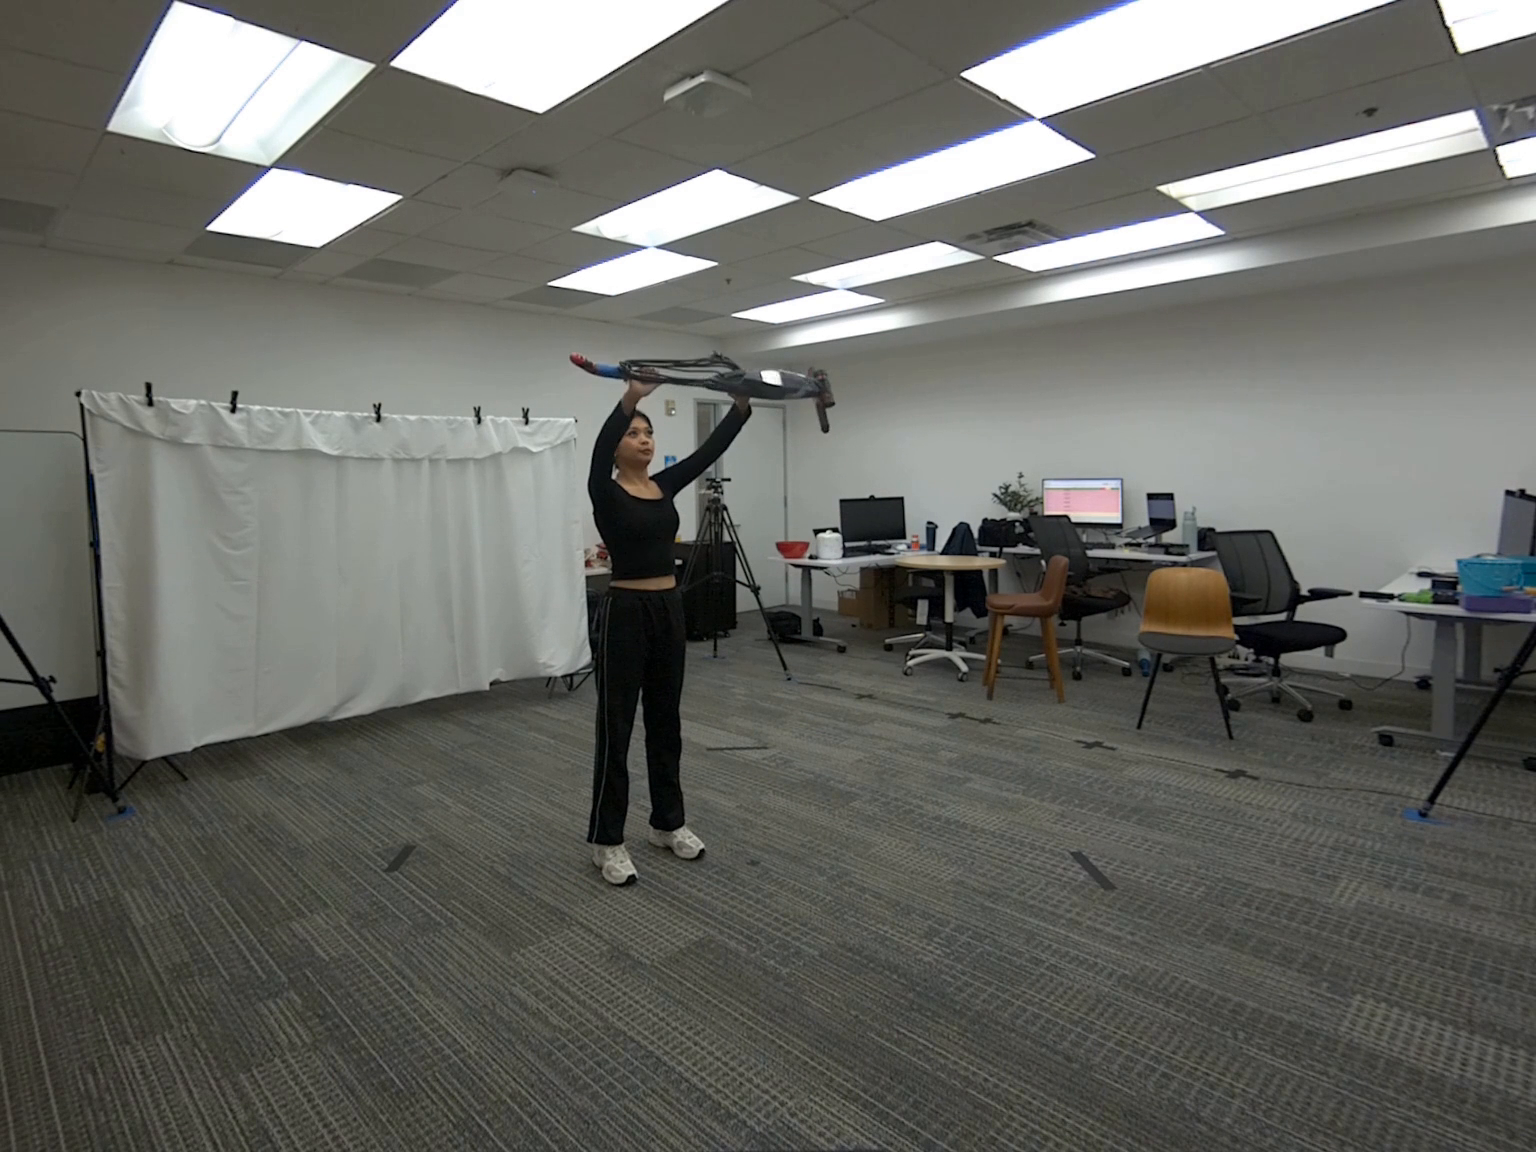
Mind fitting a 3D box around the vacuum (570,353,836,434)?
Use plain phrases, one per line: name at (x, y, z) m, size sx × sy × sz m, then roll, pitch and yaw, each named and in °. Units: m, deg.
vacuum at (-0.171, -0.632, 2.763) m, size 1.020 × 0.256 × 0.146 m, roll -3°, pitch -18°, yaw -42°
